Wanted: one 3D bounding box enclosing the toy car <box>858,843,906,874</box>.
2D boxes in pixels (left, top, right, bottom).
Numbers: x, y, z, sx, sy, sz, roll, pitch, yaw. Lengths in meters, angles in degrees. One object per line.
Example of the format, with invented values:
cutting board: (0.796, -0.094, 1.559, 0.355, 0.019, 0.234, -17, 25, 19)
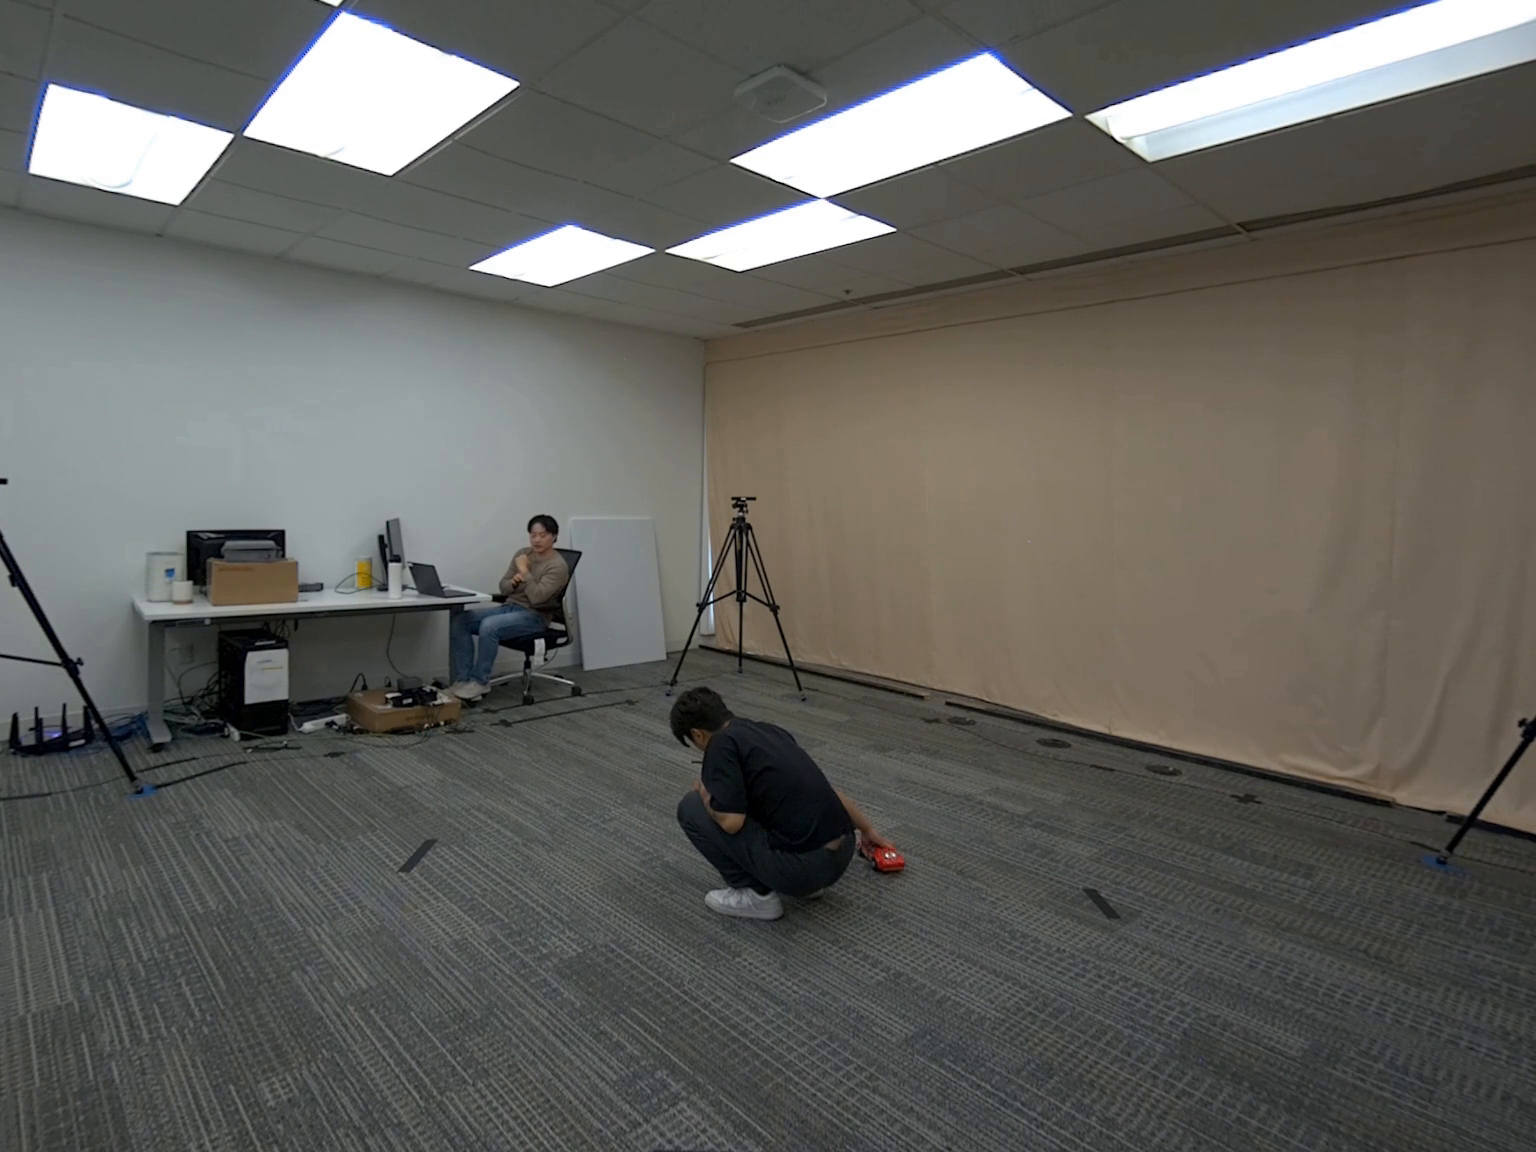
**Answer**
toy car: (0.430, 1.078, 3.245, 0.128, 0.083, 0.256, 2, -7, -17)
